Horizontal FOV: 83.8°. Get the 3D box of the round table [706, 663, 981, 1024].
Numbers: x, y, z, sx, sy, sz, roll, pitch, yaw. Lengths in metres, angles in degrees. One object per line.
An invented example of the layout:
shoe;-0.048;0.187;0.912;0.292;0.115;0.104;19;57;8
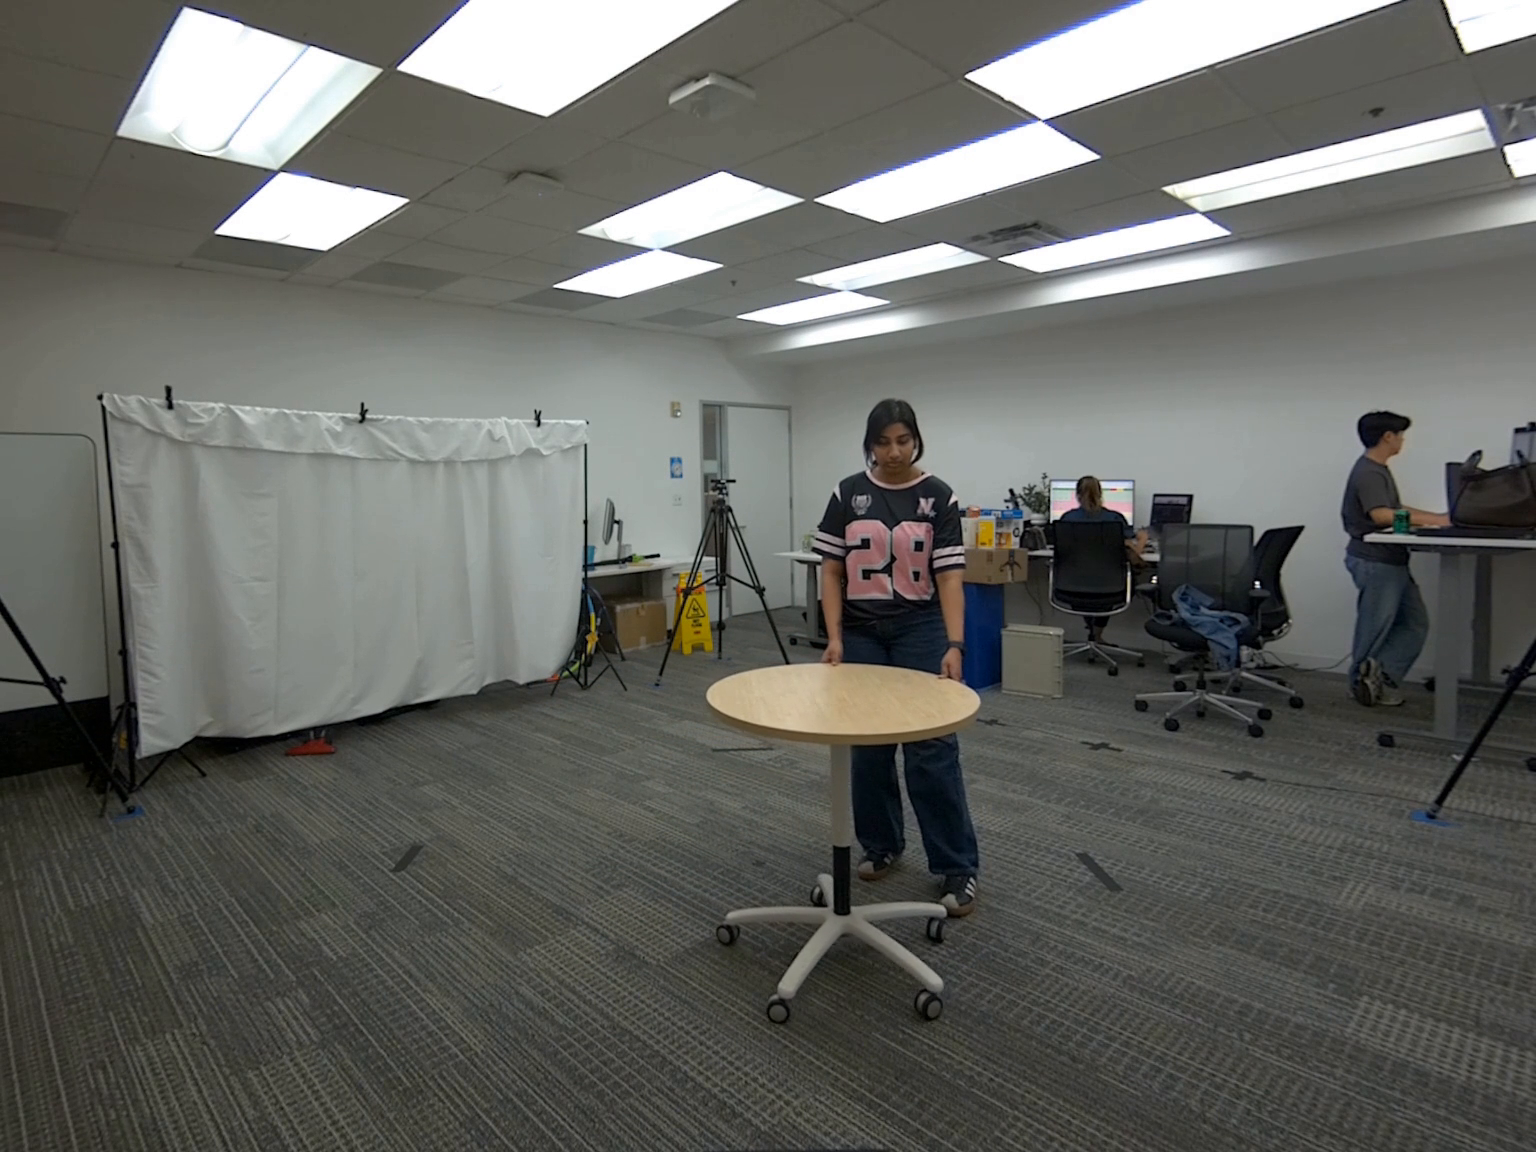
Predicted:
round table;0.210;0.727;2.465;0.763;0.790;0.768;-1;5;-2
